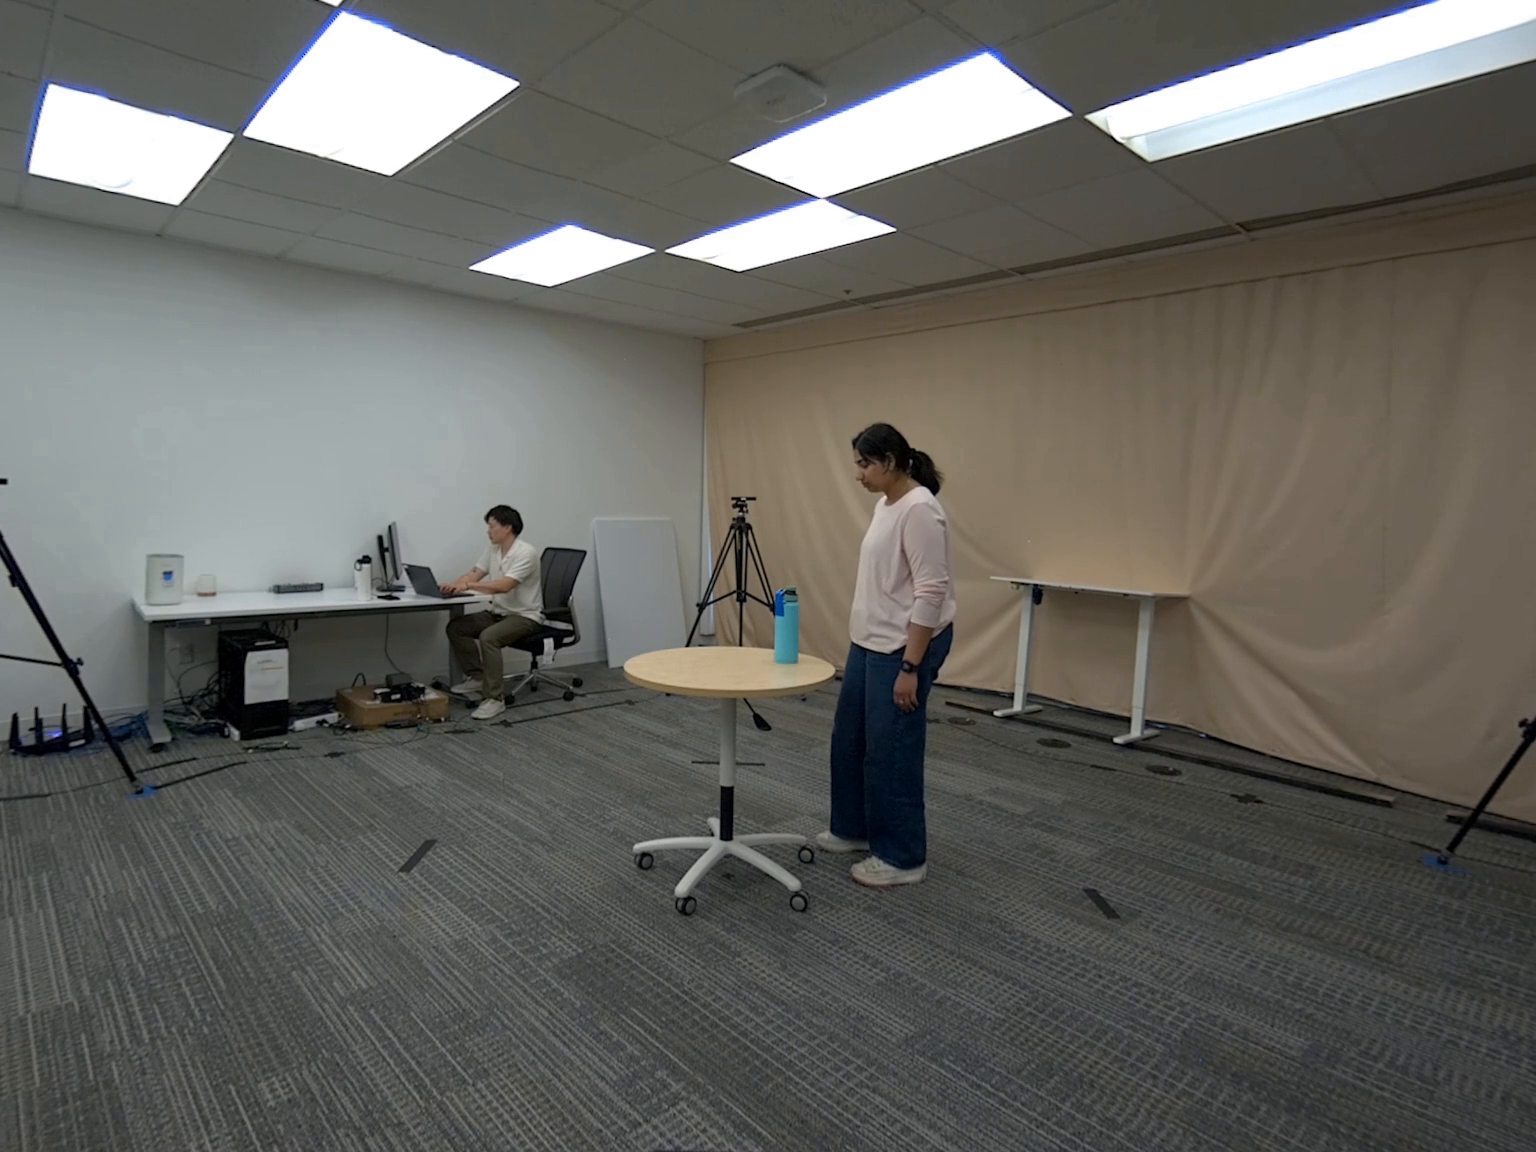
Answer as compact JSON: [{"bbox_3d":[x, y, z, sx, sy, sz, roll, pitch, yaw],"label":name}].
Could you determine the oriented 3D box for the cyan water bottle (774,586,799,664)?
[{"bbox_3d":[0.066,0.181,3.155,0.092,0.282,0.093,1,4,-1],"label":"cyan water bottle"}]
